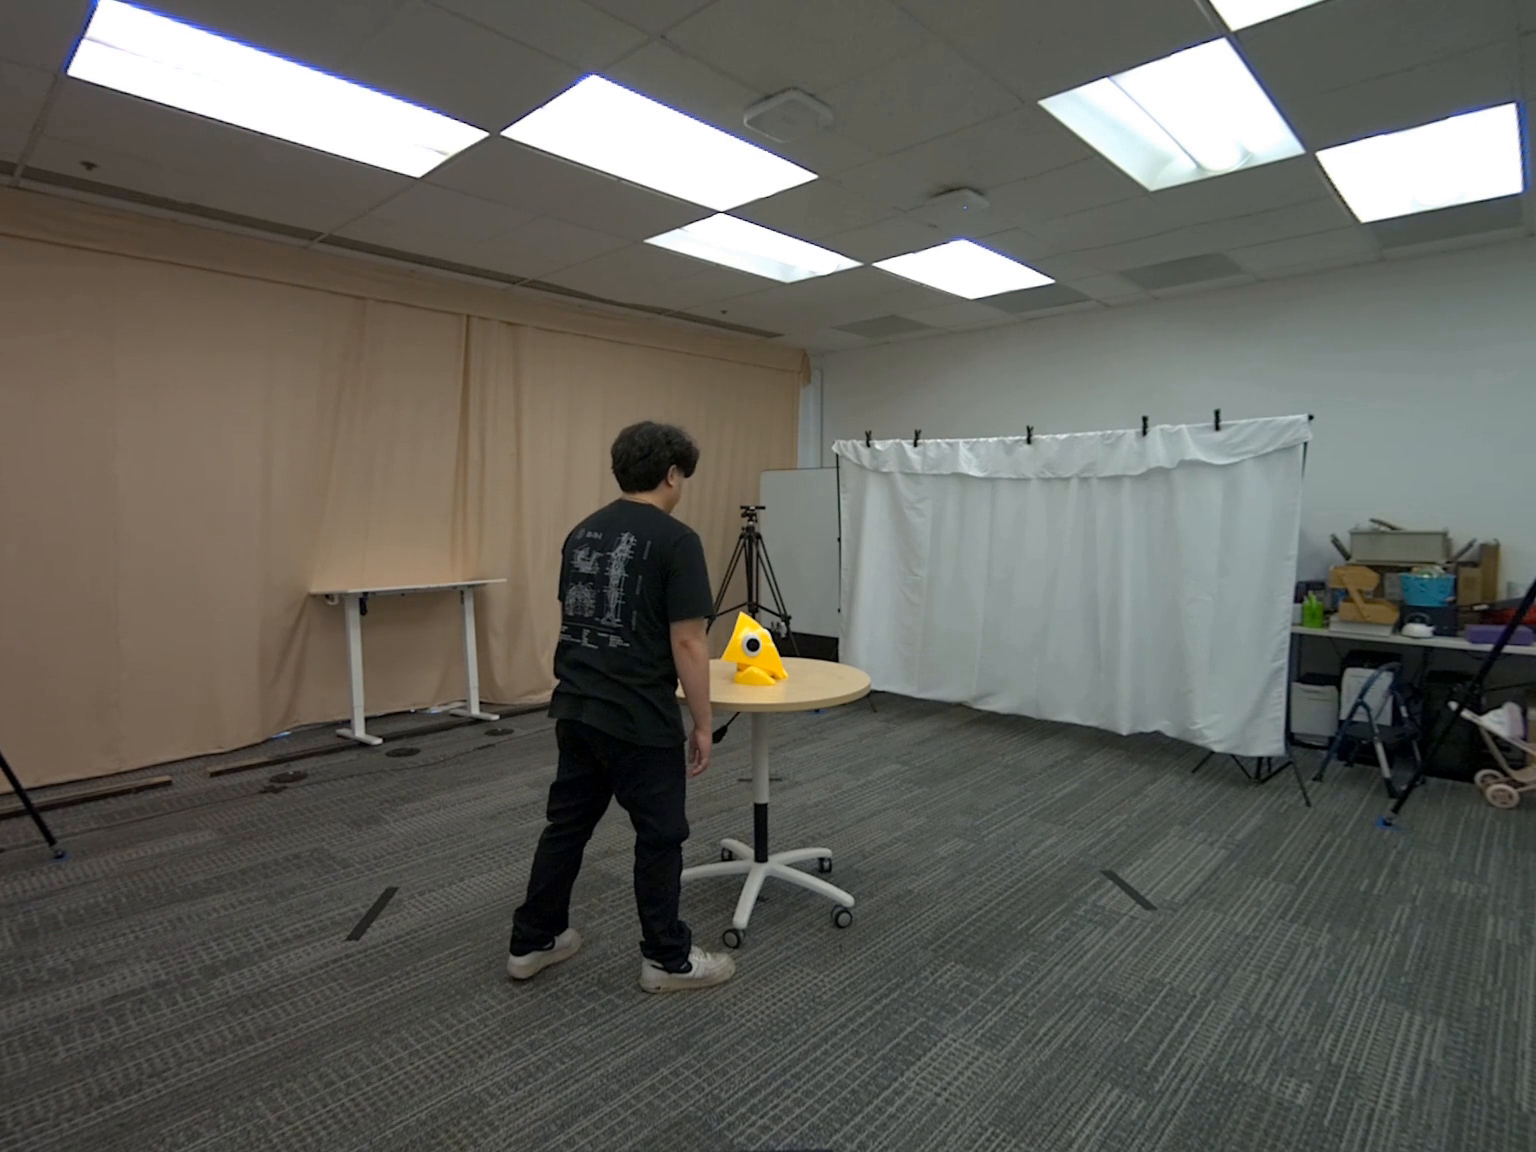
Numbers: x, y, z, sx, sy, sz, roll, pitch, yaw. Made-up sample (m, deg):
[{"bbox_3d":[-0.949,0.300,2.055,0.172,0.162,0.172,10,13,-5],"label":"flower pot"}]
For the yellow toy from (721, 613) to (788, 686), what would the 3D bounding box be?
[{"bbox_3d":[-0.033,0.244,2.909,0.198,0.230,0.200,2,5,24],"label":"yellow toy"}]
